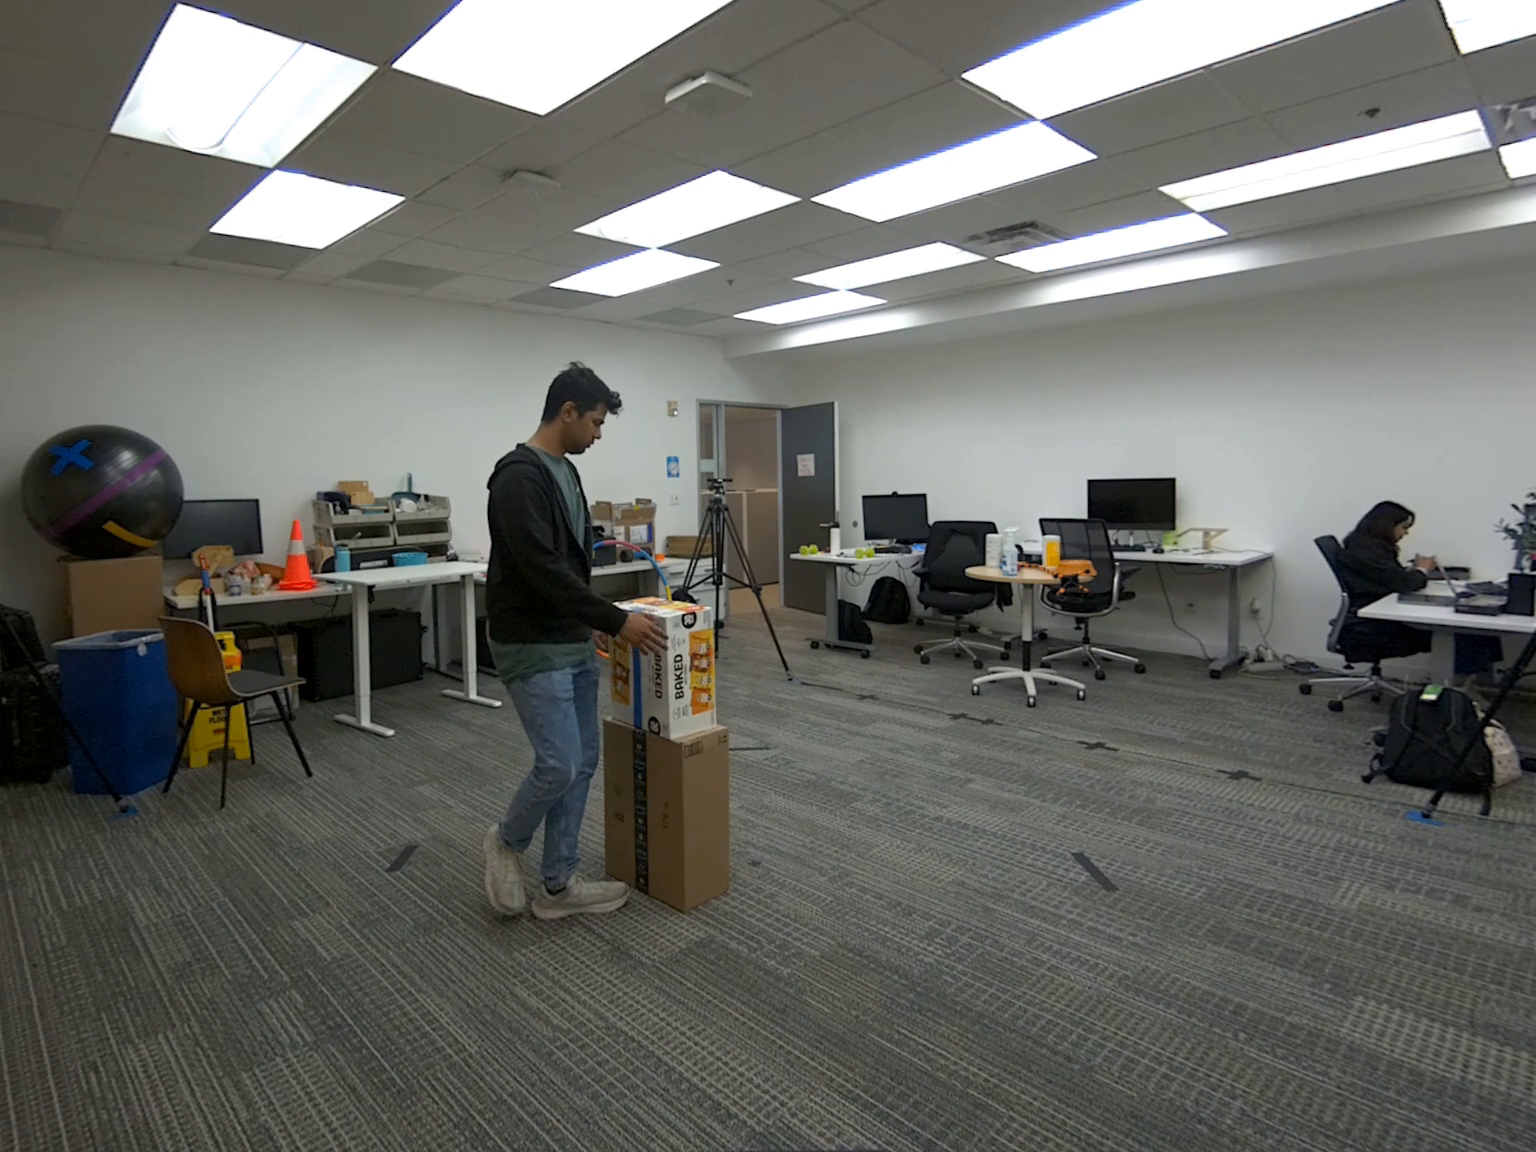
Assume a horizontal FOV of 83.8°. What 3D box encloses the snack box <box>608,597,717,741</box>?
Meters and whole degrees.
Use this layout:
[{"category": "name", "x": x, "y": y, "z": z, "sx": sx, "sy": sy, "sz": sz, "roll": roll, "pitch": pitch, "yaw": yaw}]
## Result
[{"category": "snack box", "x": -0.365, "y": 0.300, "z": 2.922, "sx": 0.200, "sy": 0.403, "sz": 0.351, "roll": -7, "pitch": 7, "yaw": -42}]
